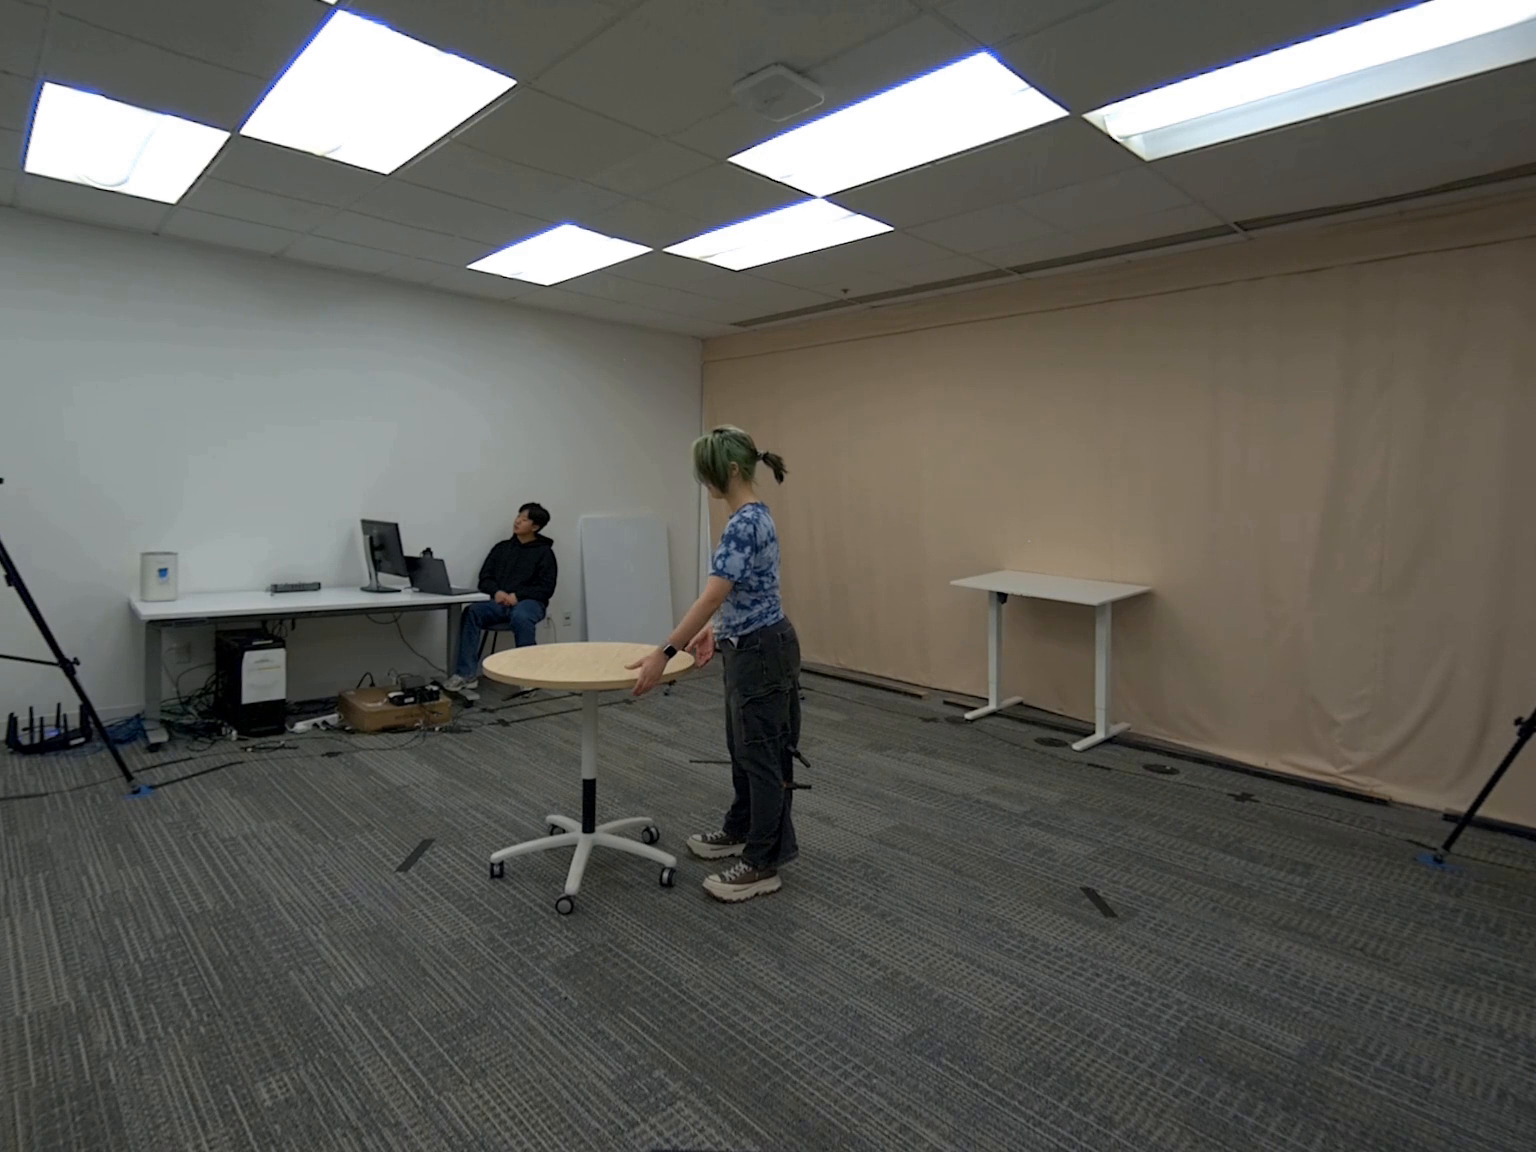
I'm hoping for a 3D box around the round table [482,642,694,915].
[{"bbox_3d":[-0.667,0.700,3.109,0.763,0.792,0.766,1,4,-1],"label":"round table"}]
